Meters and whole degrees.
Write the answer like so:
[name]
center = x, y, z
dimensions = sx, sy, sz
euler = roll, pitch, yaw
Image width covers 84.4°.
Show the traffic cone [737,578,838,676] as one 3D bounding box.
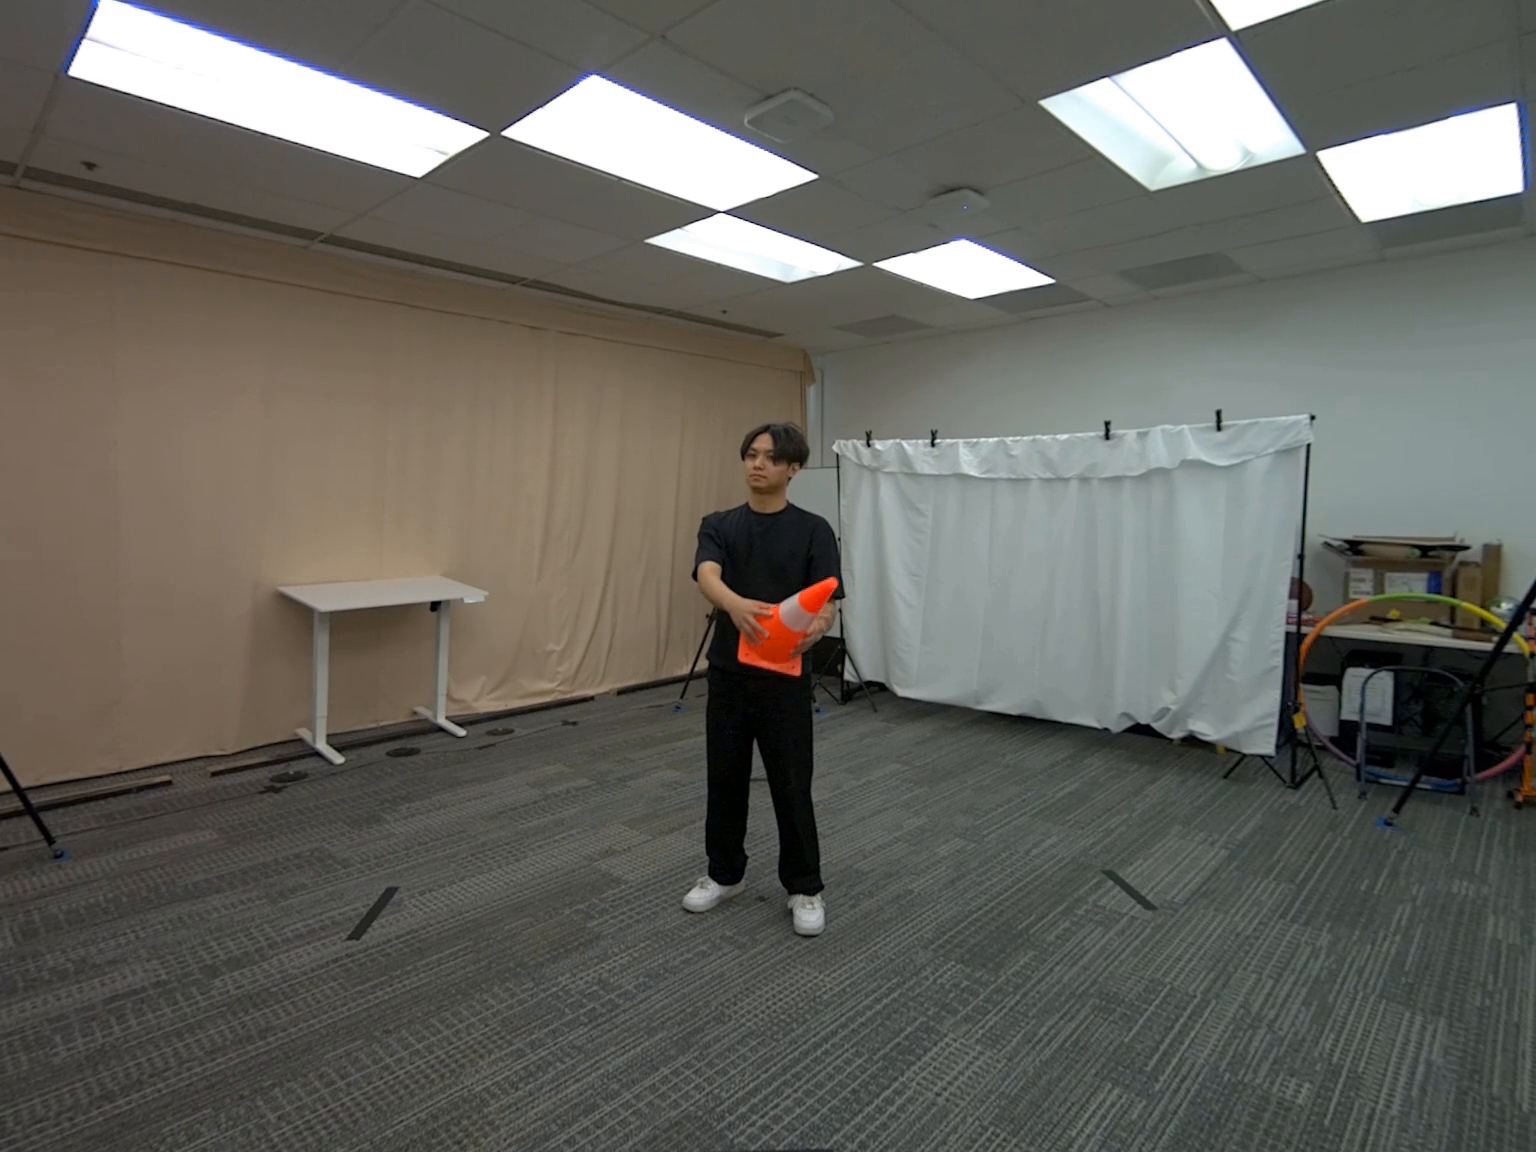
[traffic cone]
center = 0.081, 0.105, 2.362
dimensions = 0.201, 0.206, 0.385
euler = 25, -34, -8
